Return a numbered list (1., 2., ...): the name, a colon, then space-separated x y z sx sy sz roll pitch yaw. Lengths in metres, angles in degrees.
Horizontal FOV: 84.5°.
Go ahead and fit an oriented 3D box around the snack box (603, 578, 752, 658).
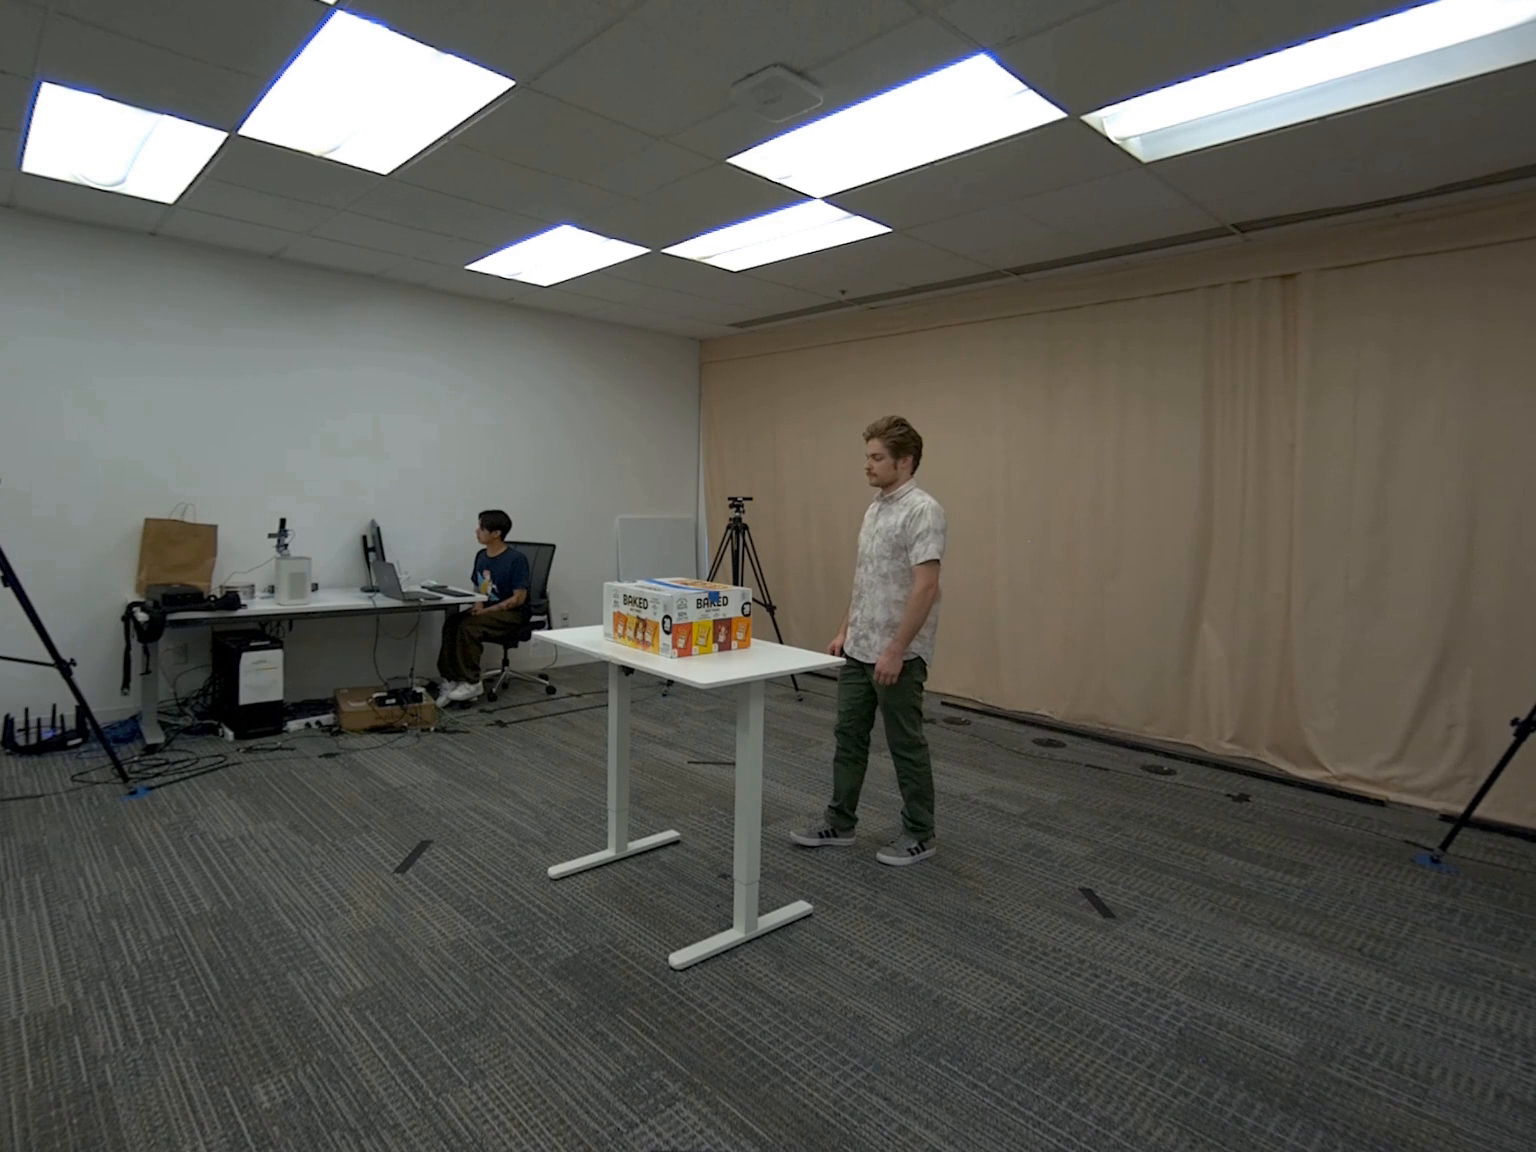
1. snack box: -0.324 0.135 2.913 0.333 0.205 0.416 -3 7 -42
